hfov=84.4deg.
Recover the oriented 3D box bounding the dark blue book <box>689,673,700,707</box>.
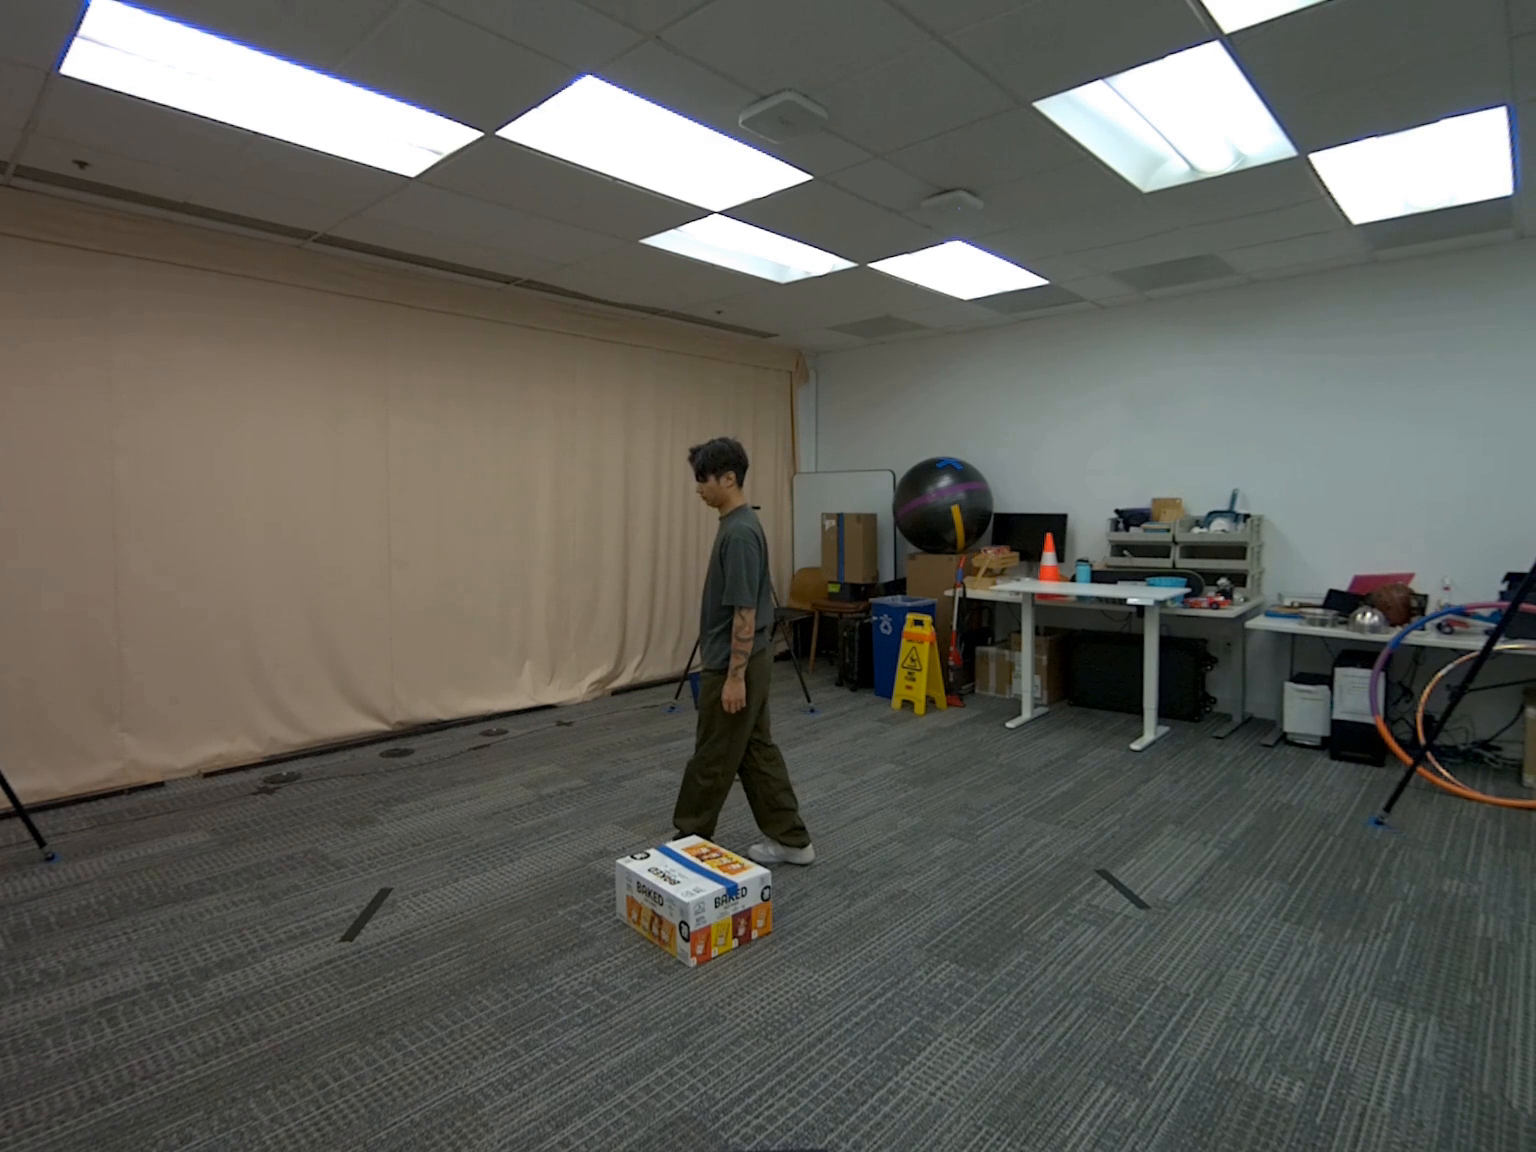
[{"bbox_3d":[-0.206,0.466,3.581,0.249,0.164,0.044,-12,-3,17],"label":"dark blue book"}]
